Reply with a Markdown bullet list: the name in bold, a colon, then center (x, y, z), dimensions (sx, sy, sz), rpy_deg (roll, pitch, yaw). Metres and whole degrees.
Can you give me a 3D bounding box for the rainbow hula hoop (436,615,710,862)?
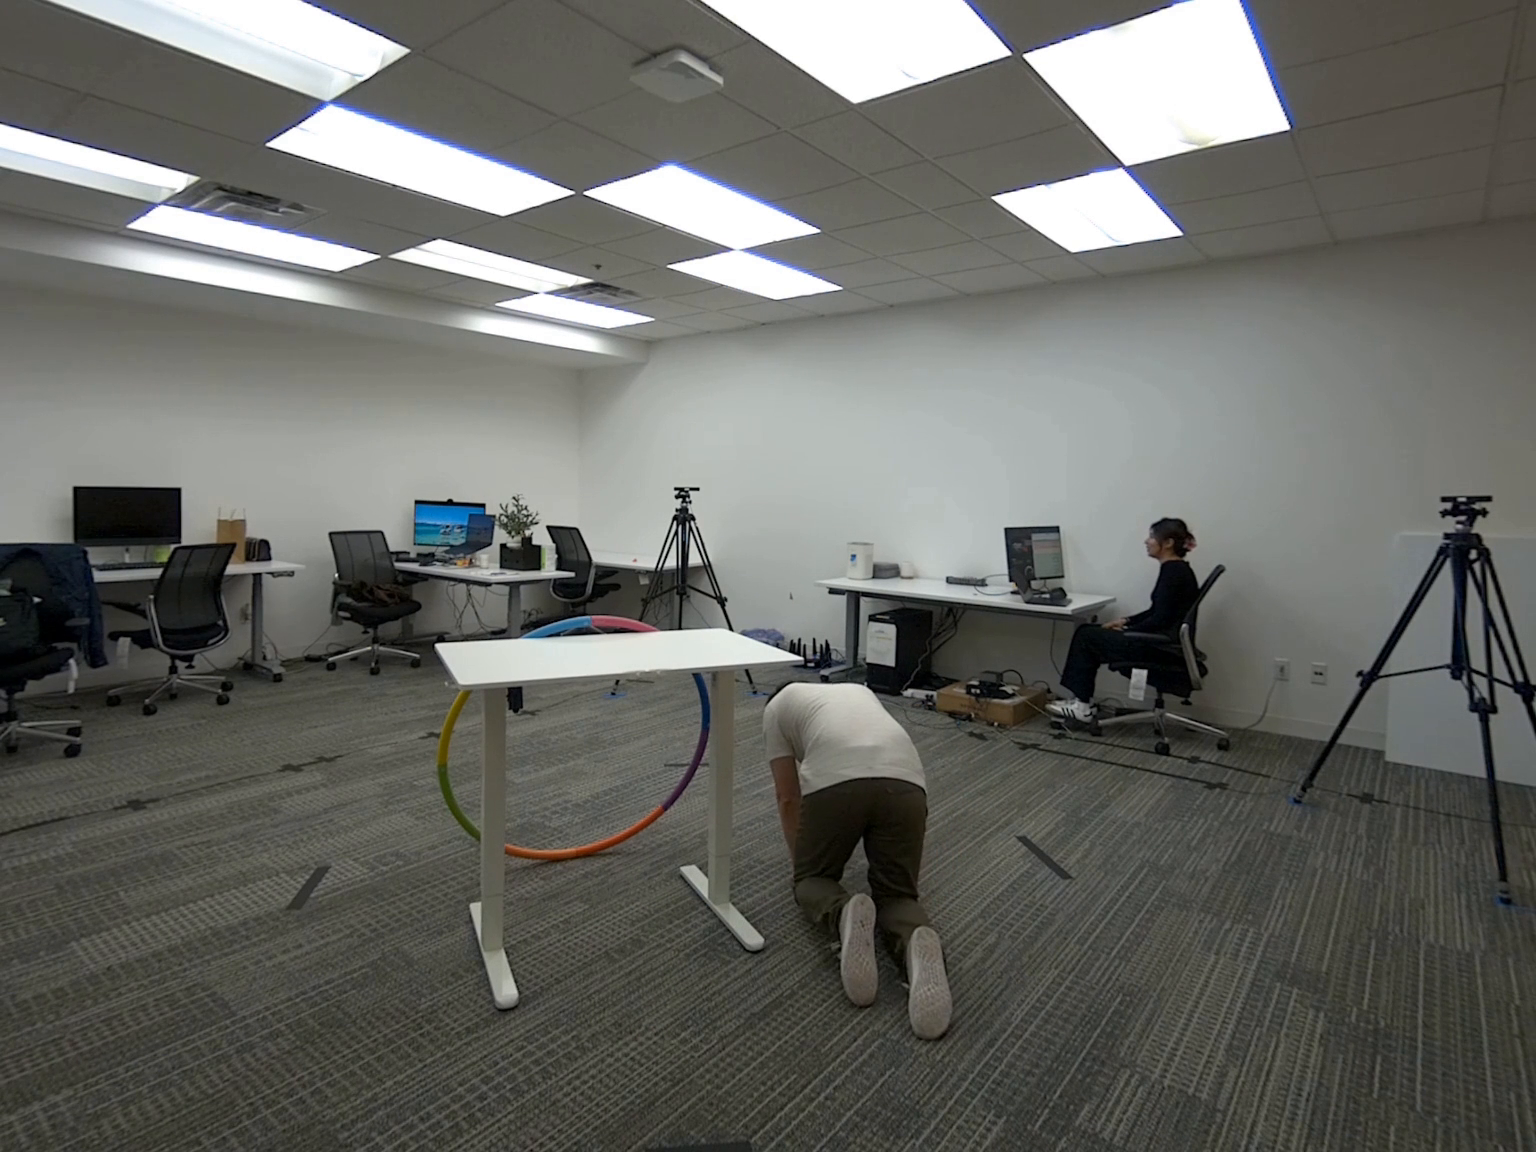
- **rainbow hula hoop**: center (-0.688, 0.600, 3.044), dimensions (0.956, 0.965, 0.037), rpy_deg (-1, 20, -25)
